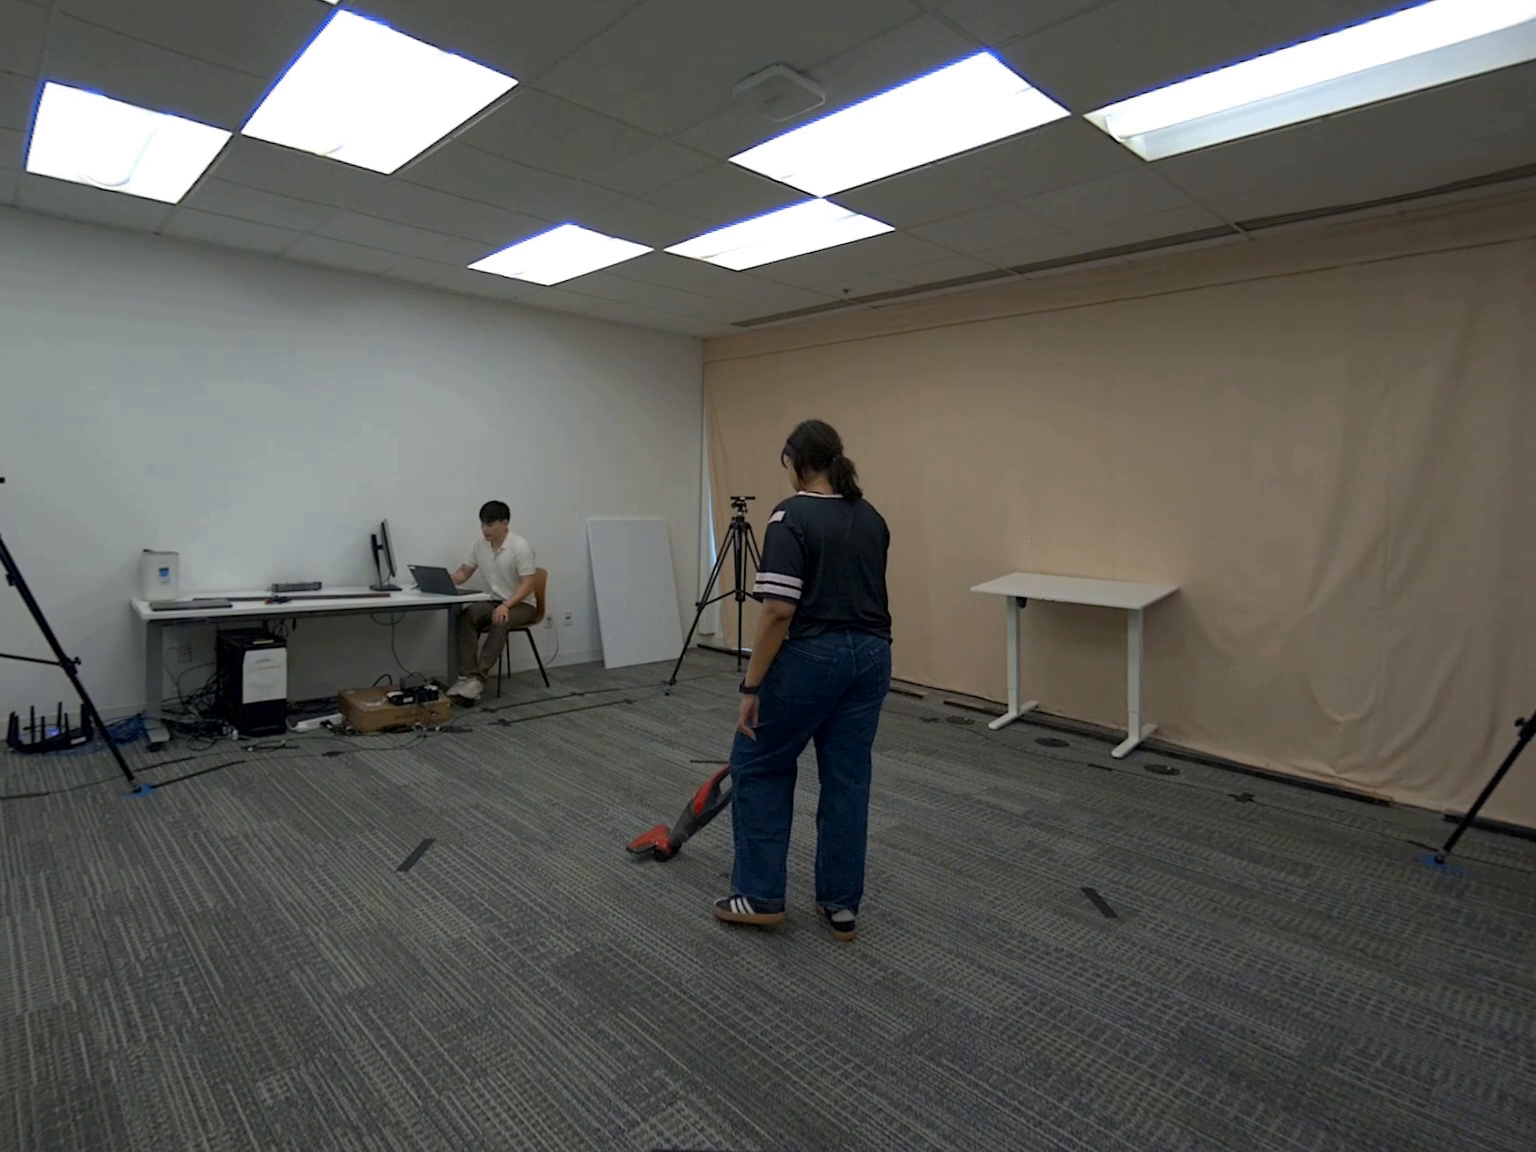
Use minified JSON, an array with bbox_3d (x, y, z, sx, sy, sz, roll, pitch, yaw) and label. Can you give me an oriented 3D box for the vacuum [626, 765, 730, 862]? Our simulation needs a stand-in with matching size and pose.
[{"bbox_3d":[-0.107,0.713,3.090,1.050,0.146,0.249,-45,-12,22],"label":"vacuum"}]
